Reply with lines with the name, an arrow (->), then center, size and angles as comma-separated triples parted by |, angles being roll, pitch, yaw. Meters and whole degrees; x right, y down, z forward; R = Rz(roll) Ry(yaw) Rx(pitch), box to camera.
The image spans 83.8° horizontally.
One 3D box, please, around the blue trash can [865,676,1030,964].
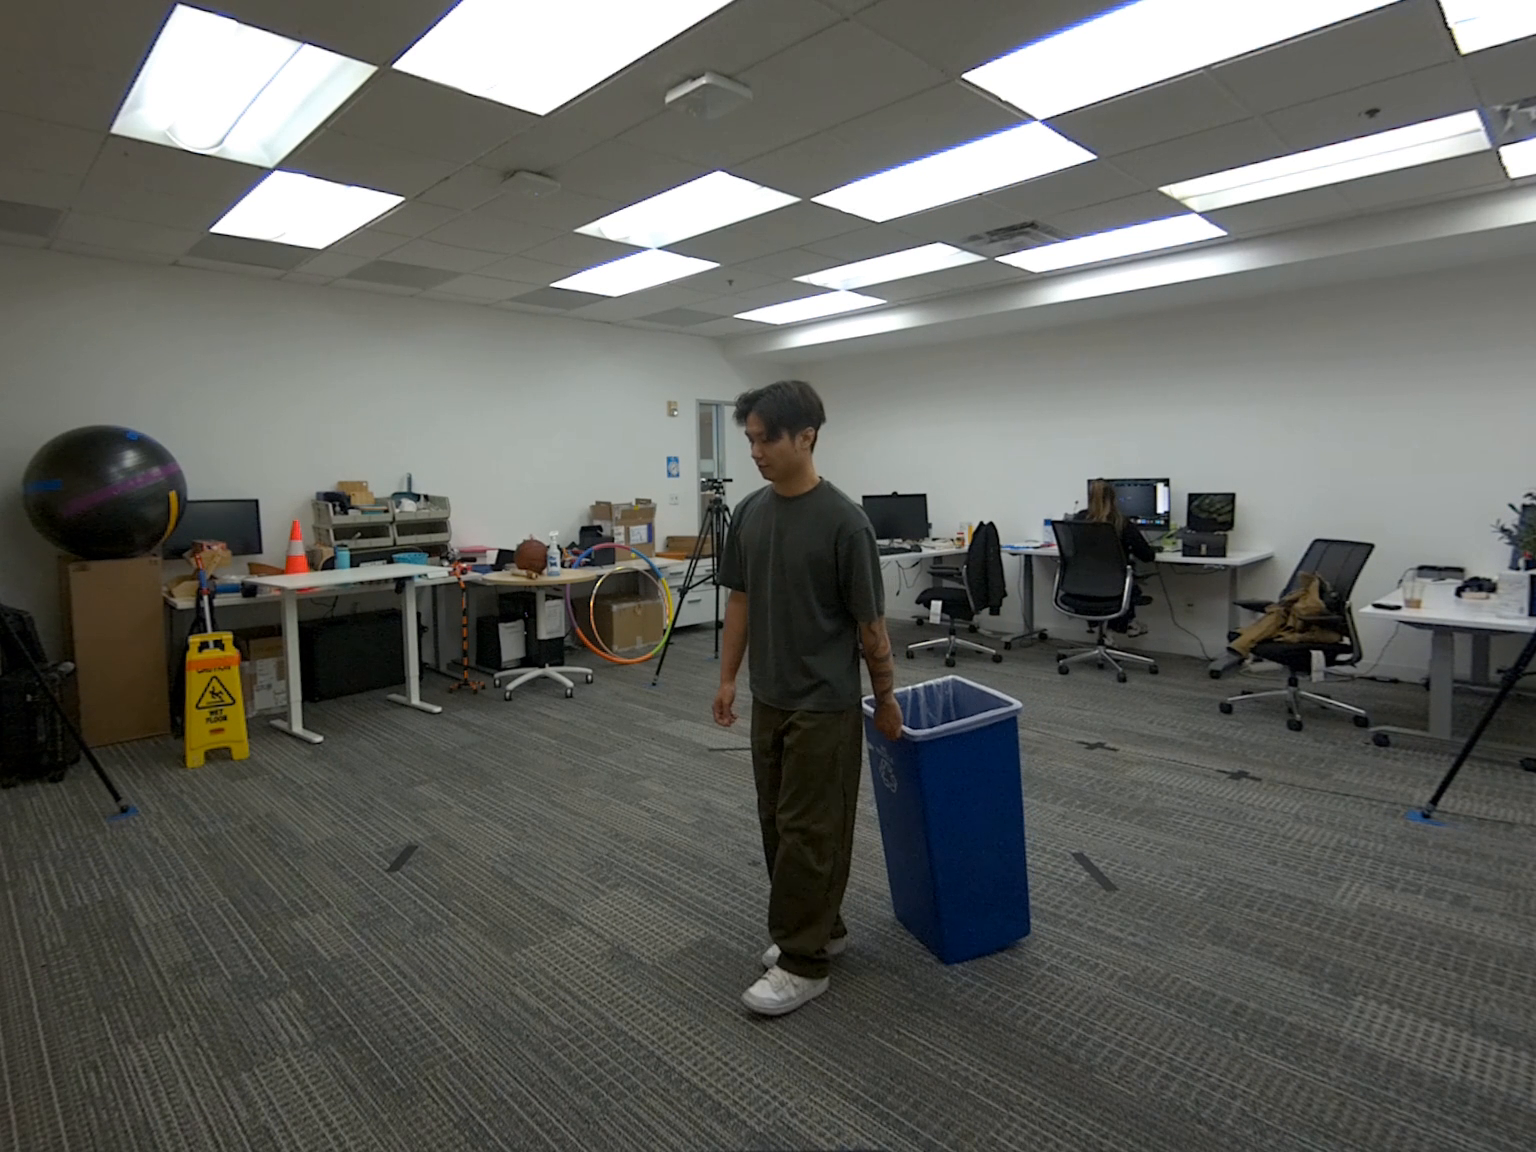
blue trash can -> 0.551, 0.721, 2.574 | 0.373, 0.708, 0.382 | -11, 8, -18
